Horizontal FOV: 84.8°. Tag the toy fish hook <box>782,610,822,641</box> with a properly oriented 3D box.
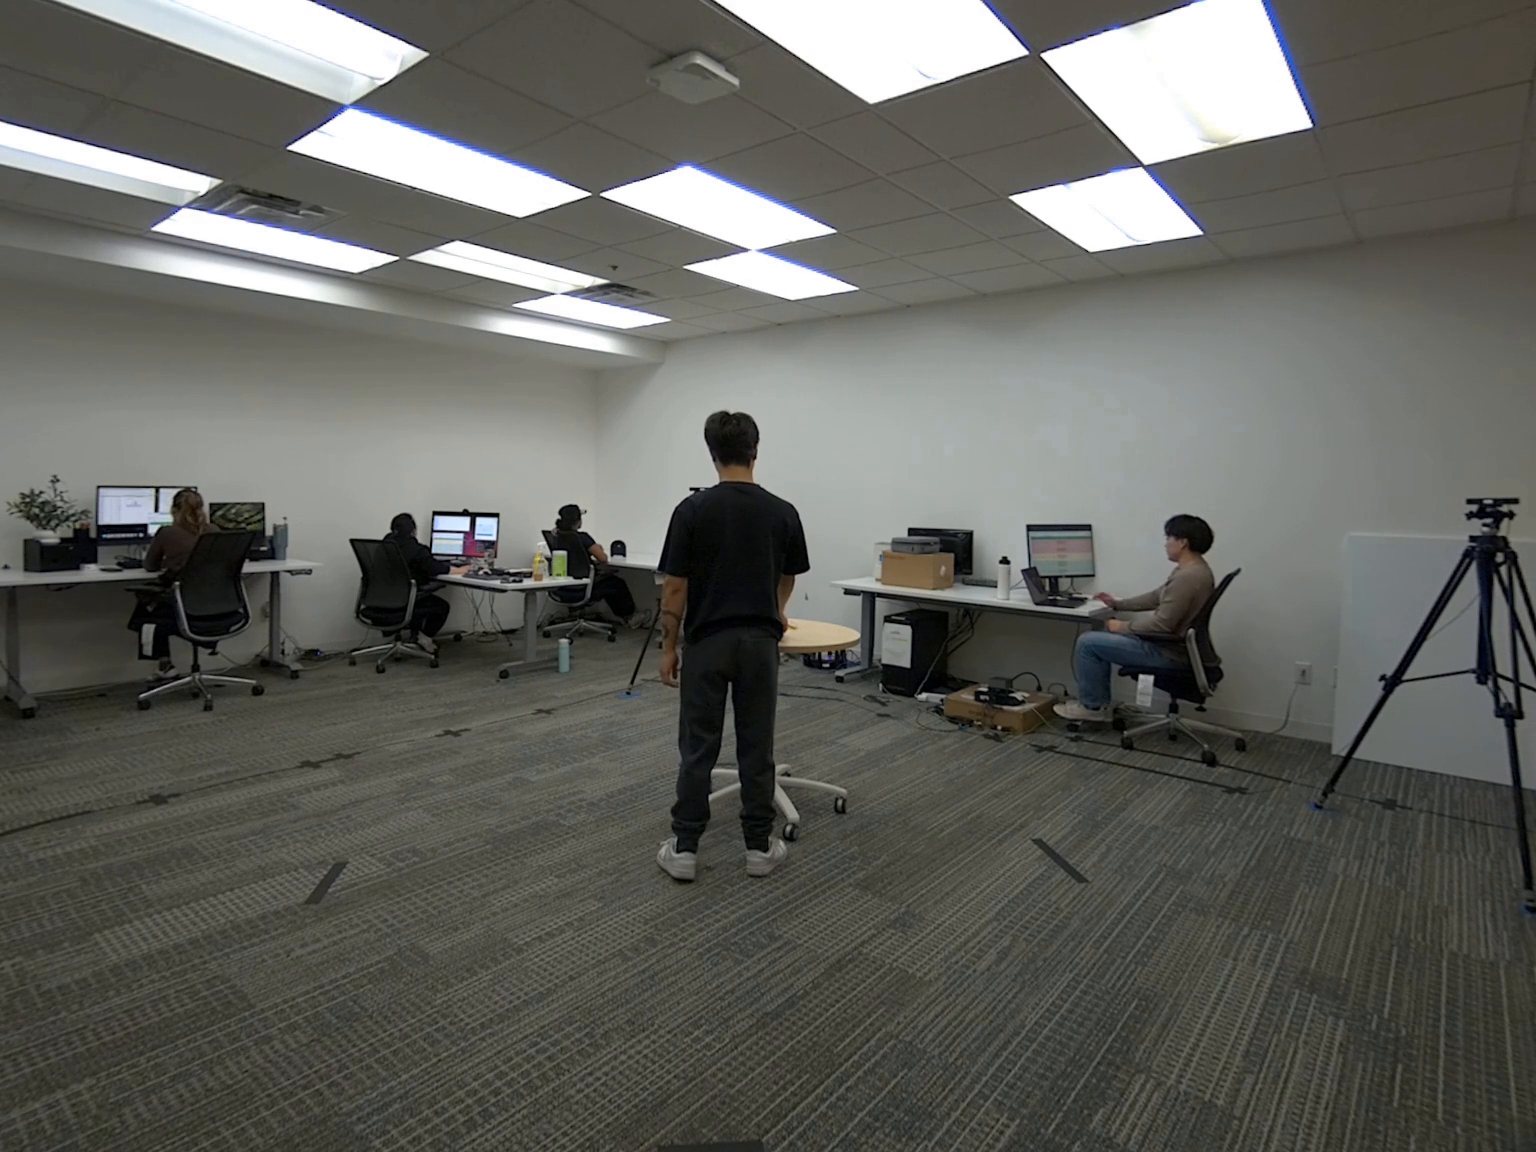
[{"bbox_3d":[0.047,0.210,3.651,0.222,0.048,0.514,-4,5,-12],"label":"toy fish hook"}]
